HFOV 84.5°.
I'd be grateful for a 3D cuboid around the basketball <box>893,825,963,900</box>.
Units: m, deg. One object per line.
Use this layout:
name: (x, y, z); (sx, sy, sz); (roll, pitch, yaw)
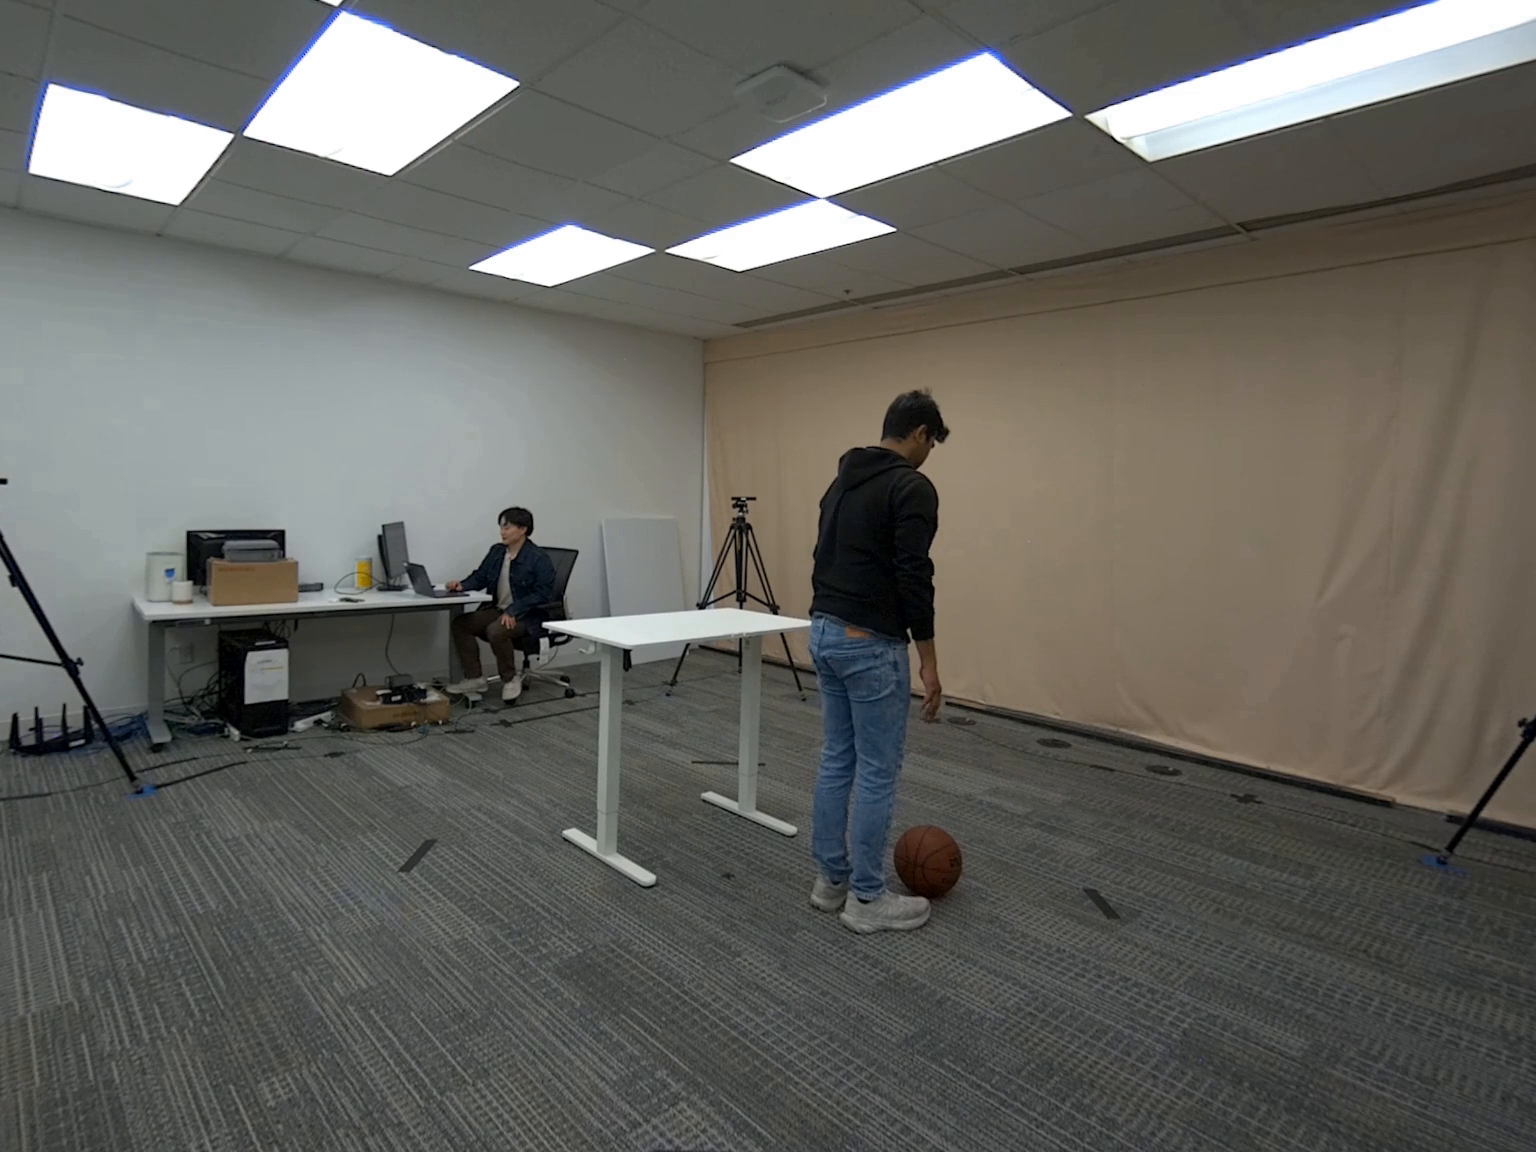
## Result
basketball: (0.561, 1.011, 3.005); (0.236, 0.235, 0.237); (1, 4, -1)
